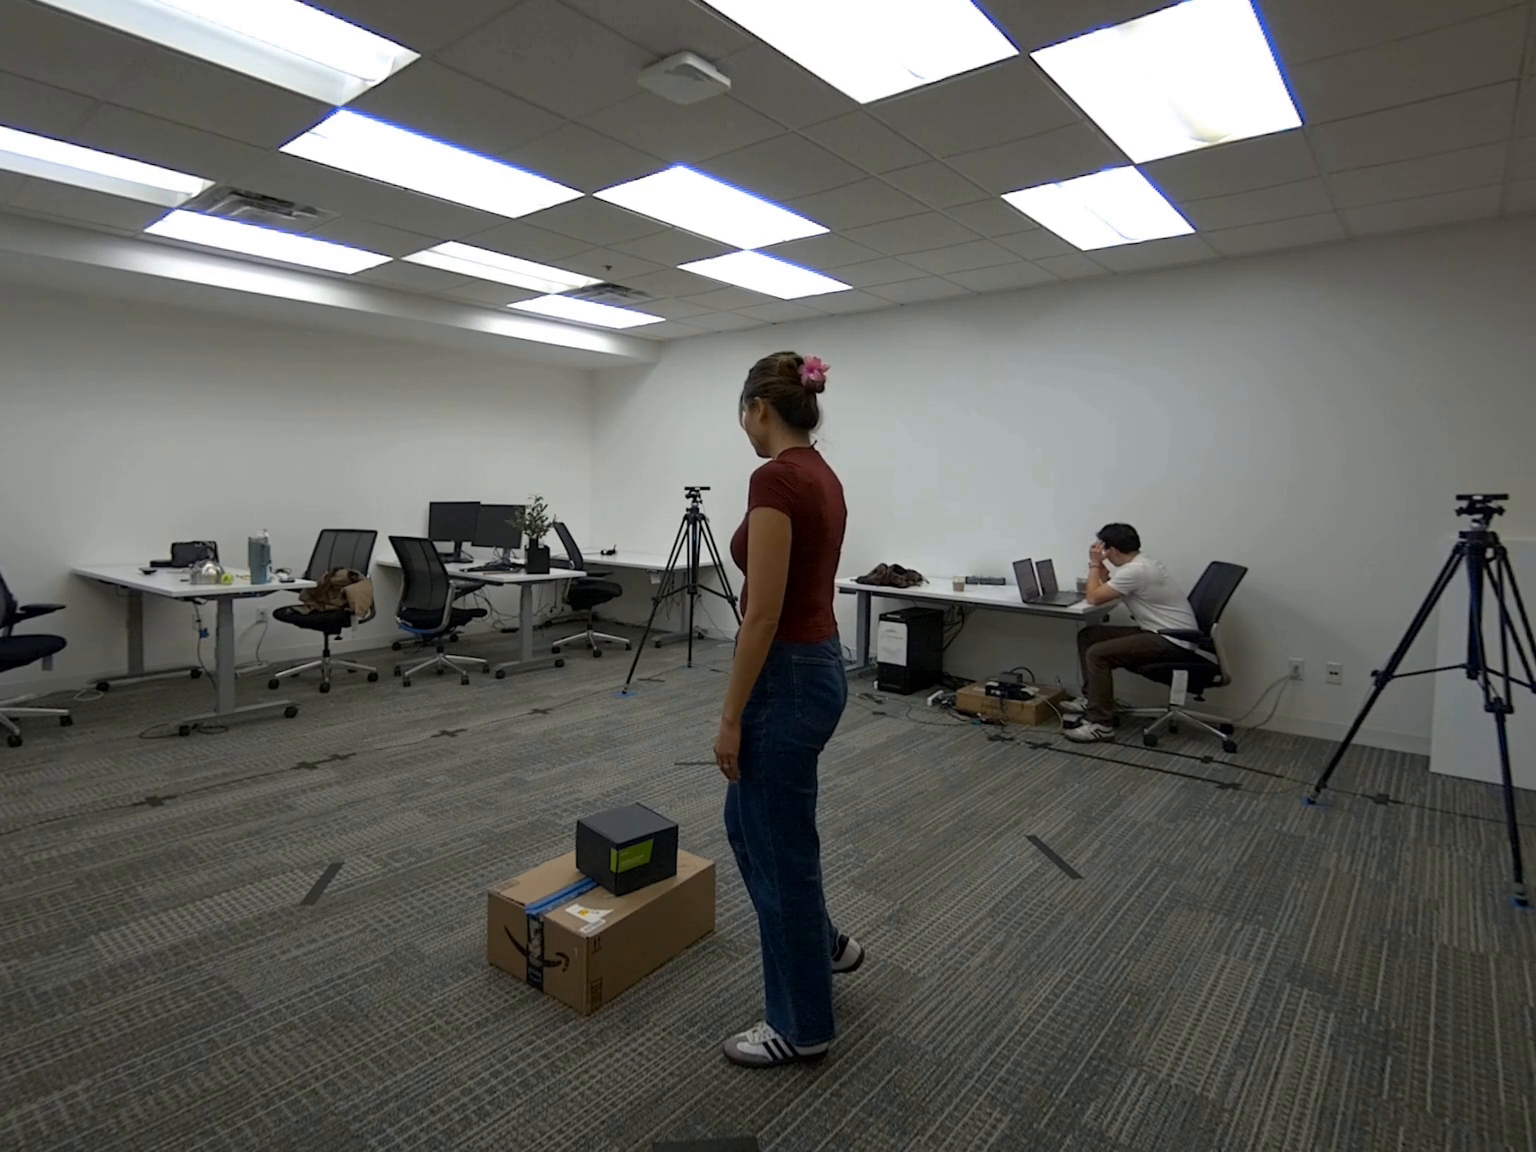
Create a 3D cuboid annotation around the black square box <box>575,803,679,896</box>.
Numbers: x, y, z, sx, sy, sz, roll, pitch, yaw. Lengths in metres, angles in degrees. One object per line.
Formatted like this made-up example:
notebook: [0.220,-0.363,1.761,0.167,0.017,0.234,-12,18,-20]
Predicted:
black square box: [-0.435,0.815,2.572,0.221,0.155,0.225,-3,8,-44]
